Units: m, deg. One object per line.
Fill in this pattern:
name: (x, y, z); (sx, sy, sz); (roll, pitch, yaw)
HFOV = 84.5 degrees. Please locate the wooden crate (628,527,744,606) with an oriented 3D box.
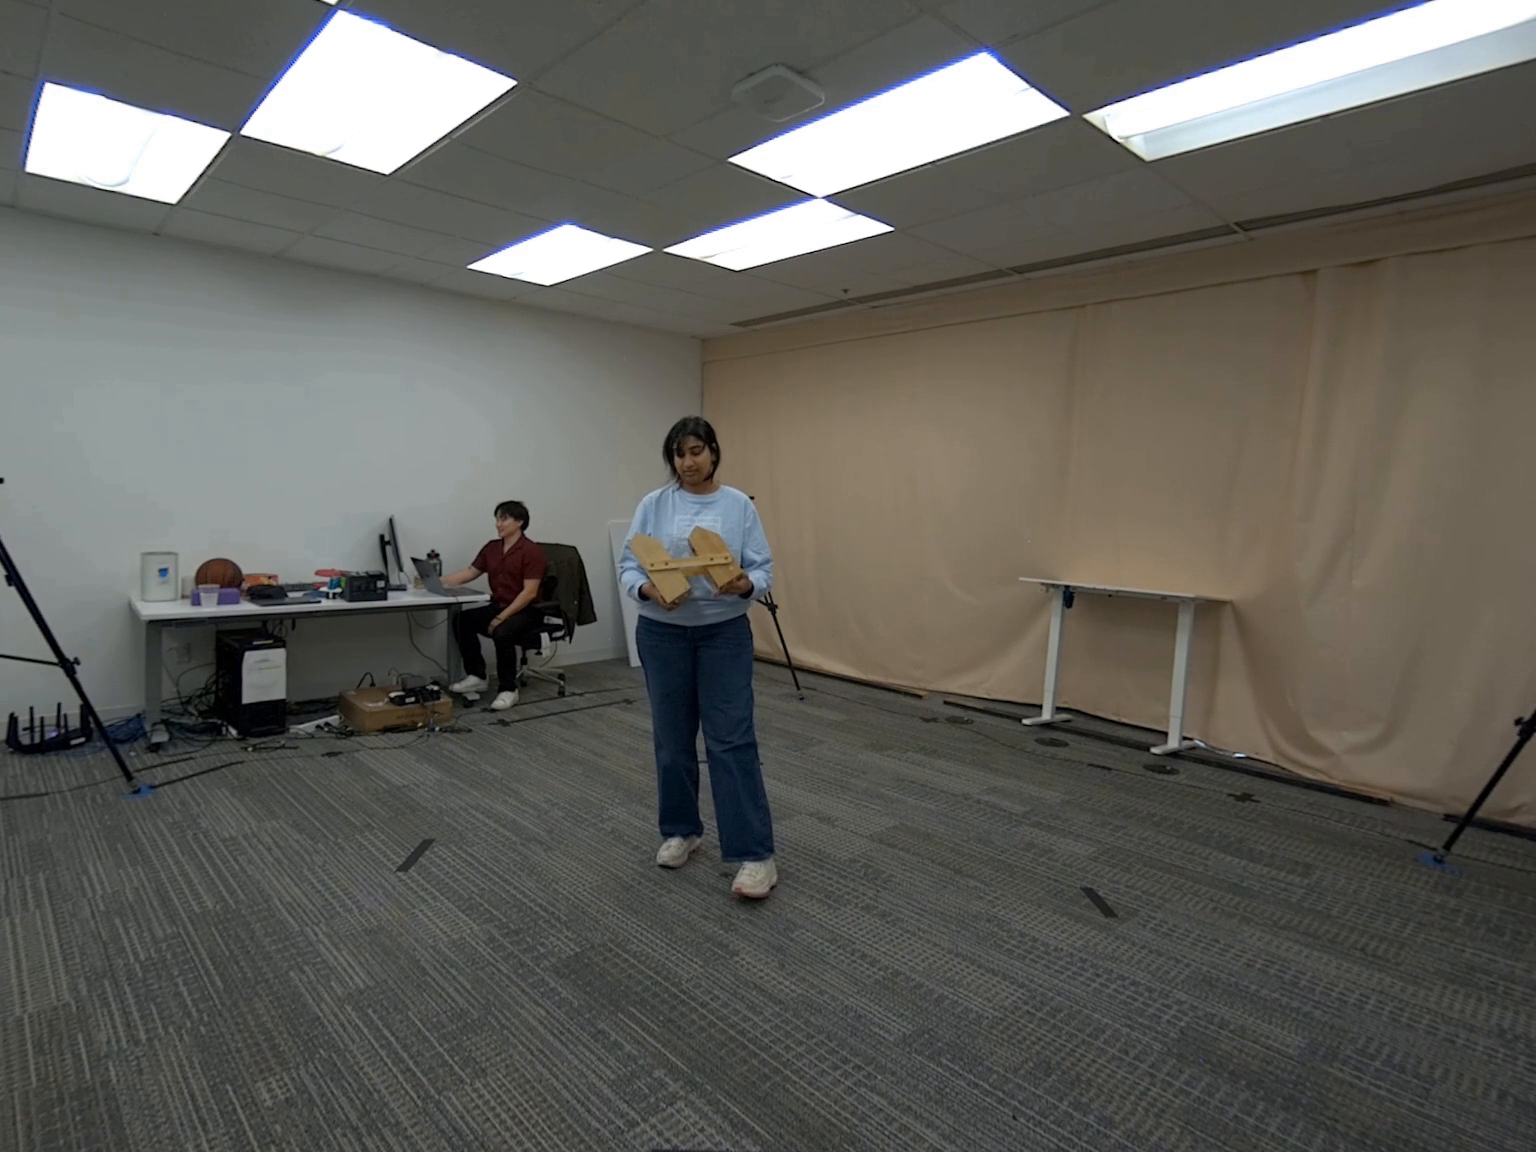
wooden crate: (-0.287, -0.055, 2.861); (0.273, 0.304, 0.323); (-34, -4, -6)
